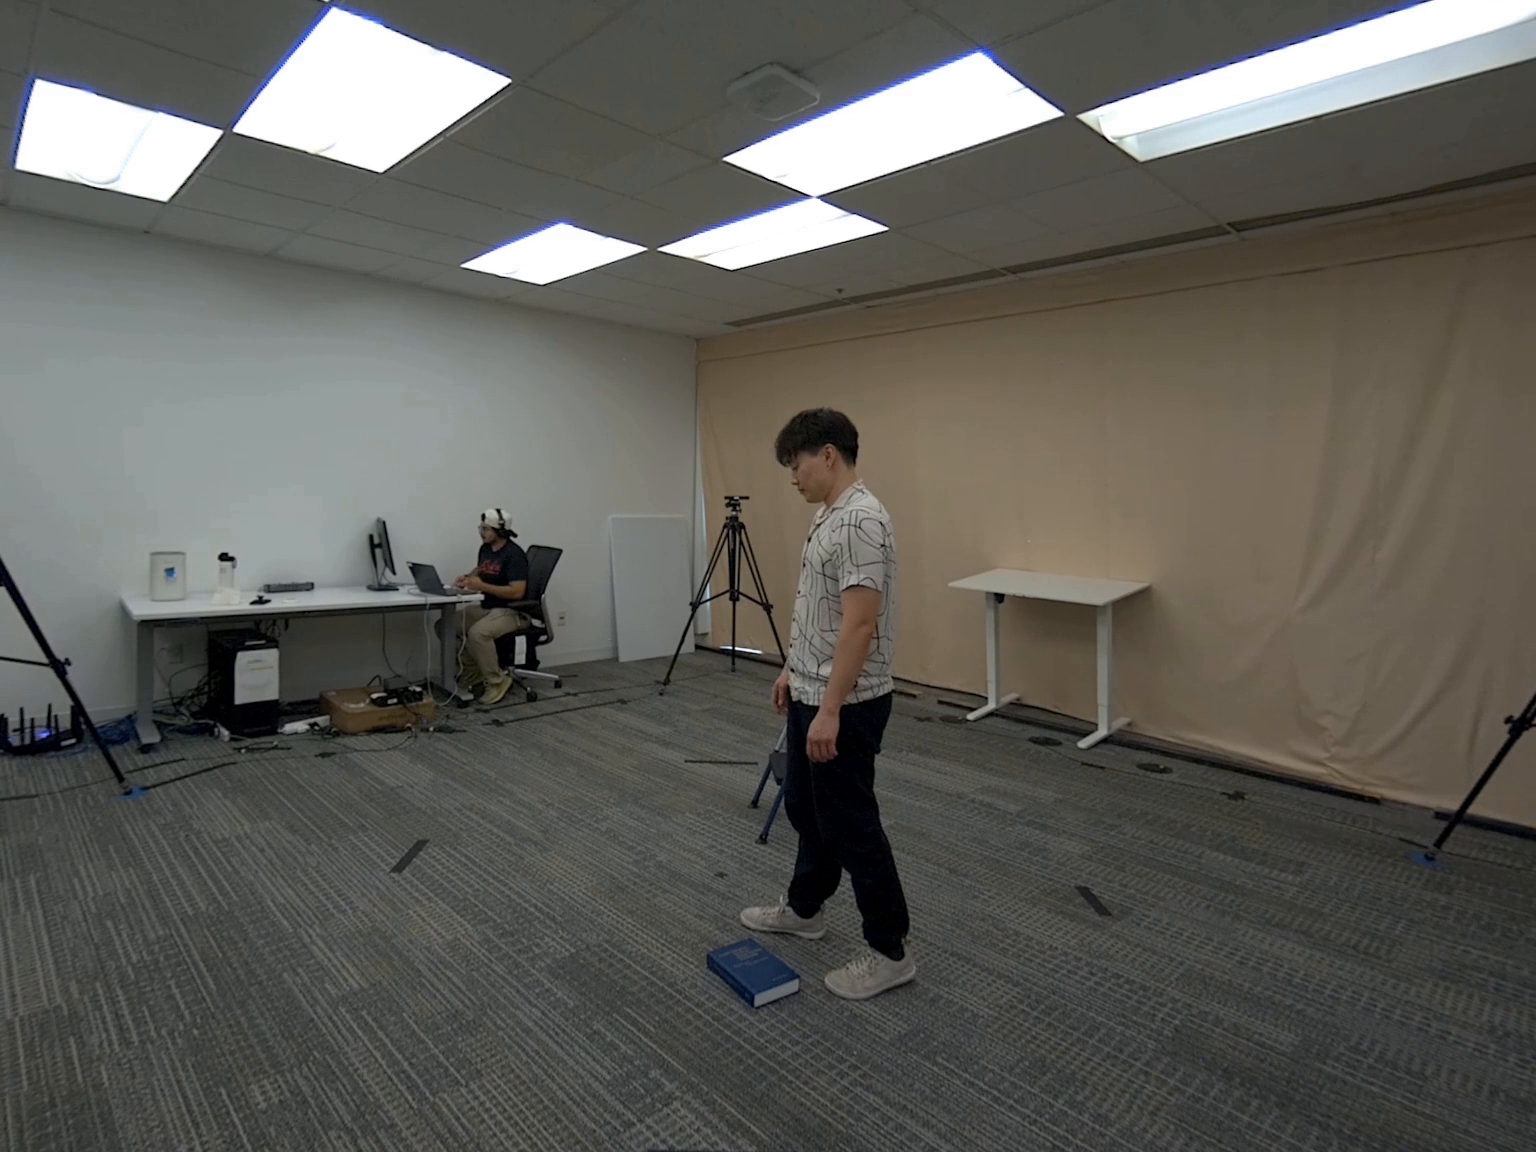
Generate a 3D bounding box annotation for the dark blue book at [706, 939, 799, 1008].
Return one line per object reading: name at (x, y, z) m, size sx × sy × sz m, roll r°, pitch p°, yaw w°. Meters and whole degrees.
dark blue book at (-0.051, 1.150, 2.433) m, size 0.160 × 0.045 × 0.251 m, roll -2°, pitch 7°, yaw -35°
